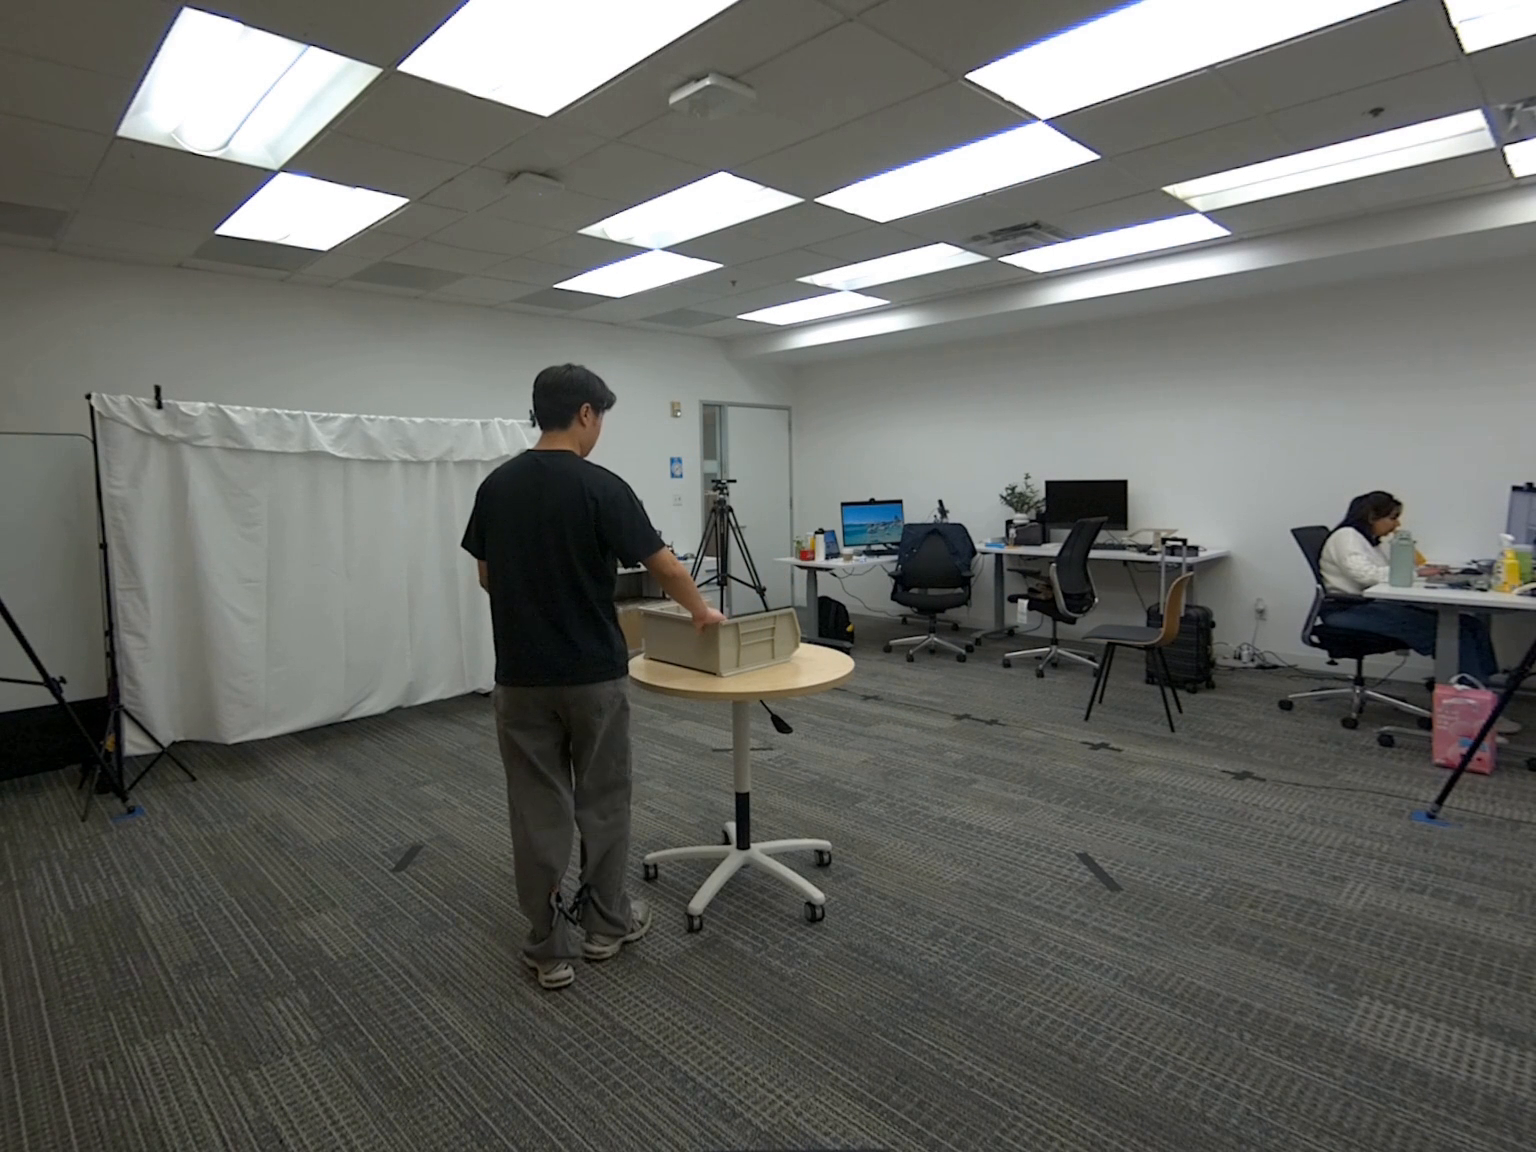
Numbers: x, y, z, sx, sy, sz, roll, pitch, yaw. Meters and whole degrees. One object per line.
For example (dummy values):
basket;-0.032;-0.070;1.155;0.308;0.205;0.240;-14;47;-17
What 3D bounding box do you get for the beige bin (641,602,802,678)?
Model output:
beige bin;-0.165;0.198;2.936;0.368;0.188;0.436;-9;11;-44
